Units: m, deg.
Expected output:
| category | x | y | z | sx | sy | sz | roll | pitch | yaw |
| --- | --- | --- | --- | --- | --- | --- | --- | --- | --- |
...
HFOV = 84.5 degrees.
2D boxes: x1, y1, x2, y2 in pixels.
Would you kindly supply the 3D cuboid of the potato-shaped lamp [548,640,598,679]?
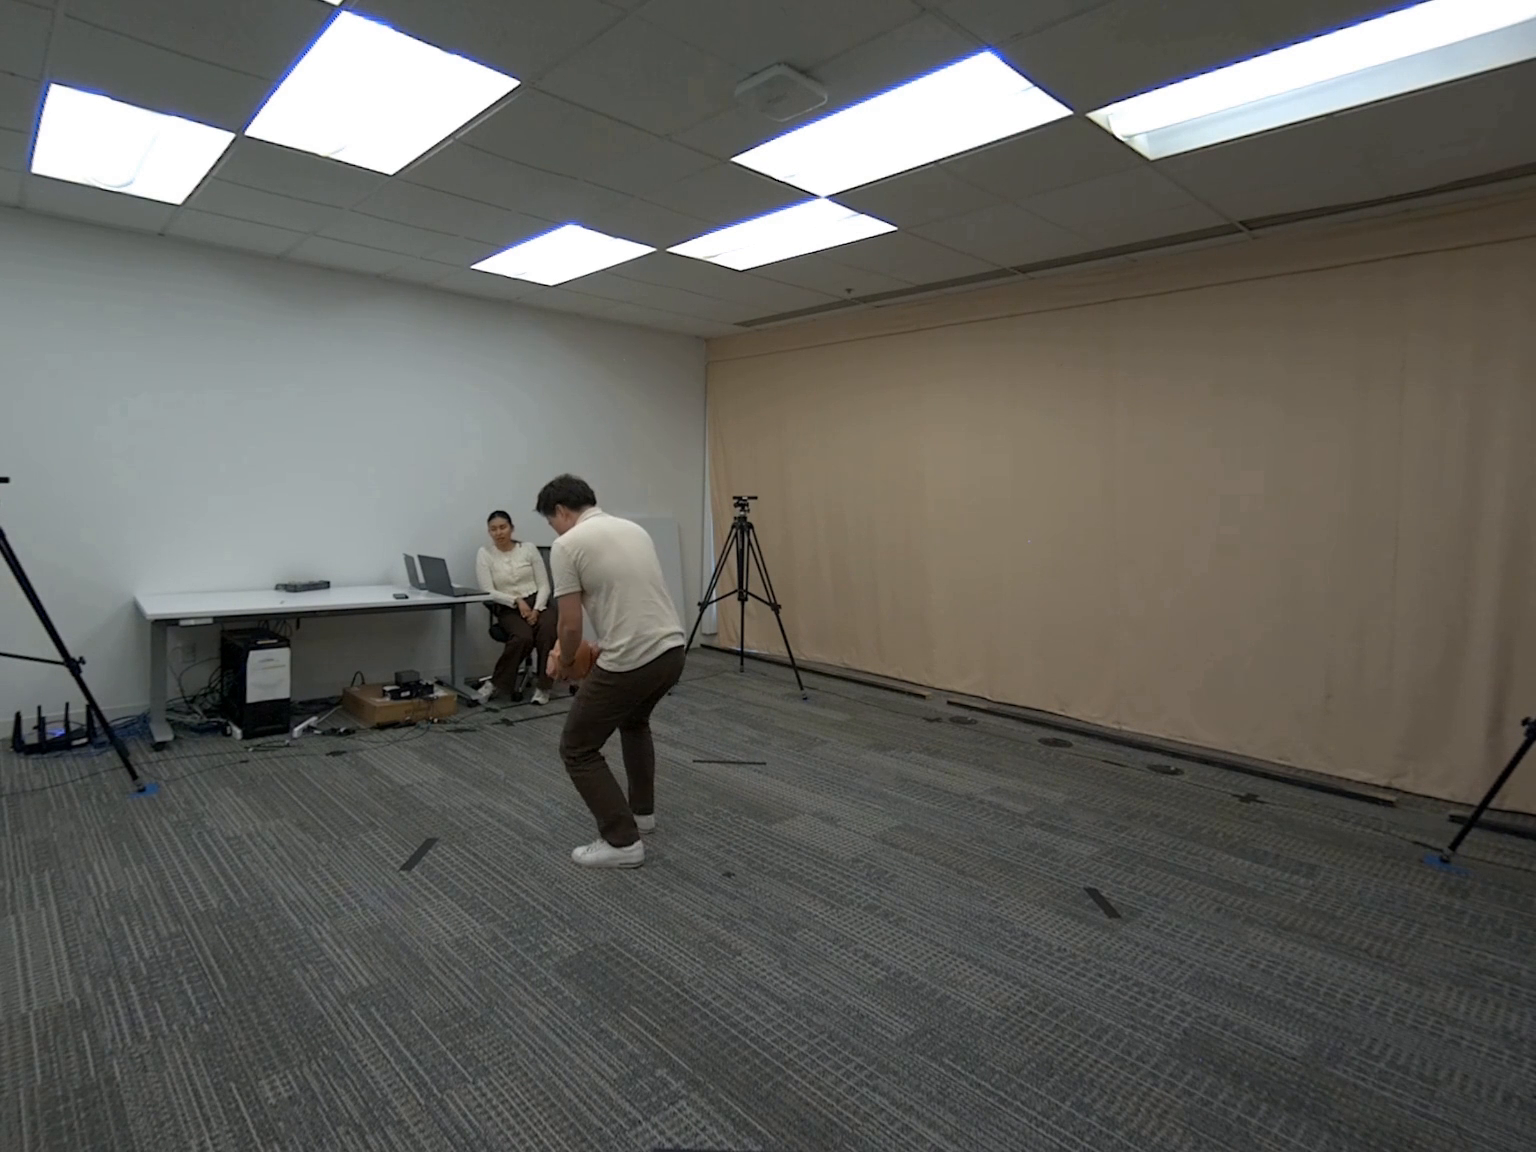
| category | x | y | z | sx | sy | sz | roll | pitch | yaw |
| --- | --- | --- | --- | --- | --- | --- | --- | --- | --- |
| potato-shaped lamp | -0.809 | 0.336 | 3.429 | 0.176 | 0.196 | 0.162 | 22 | 23 | 30 |
